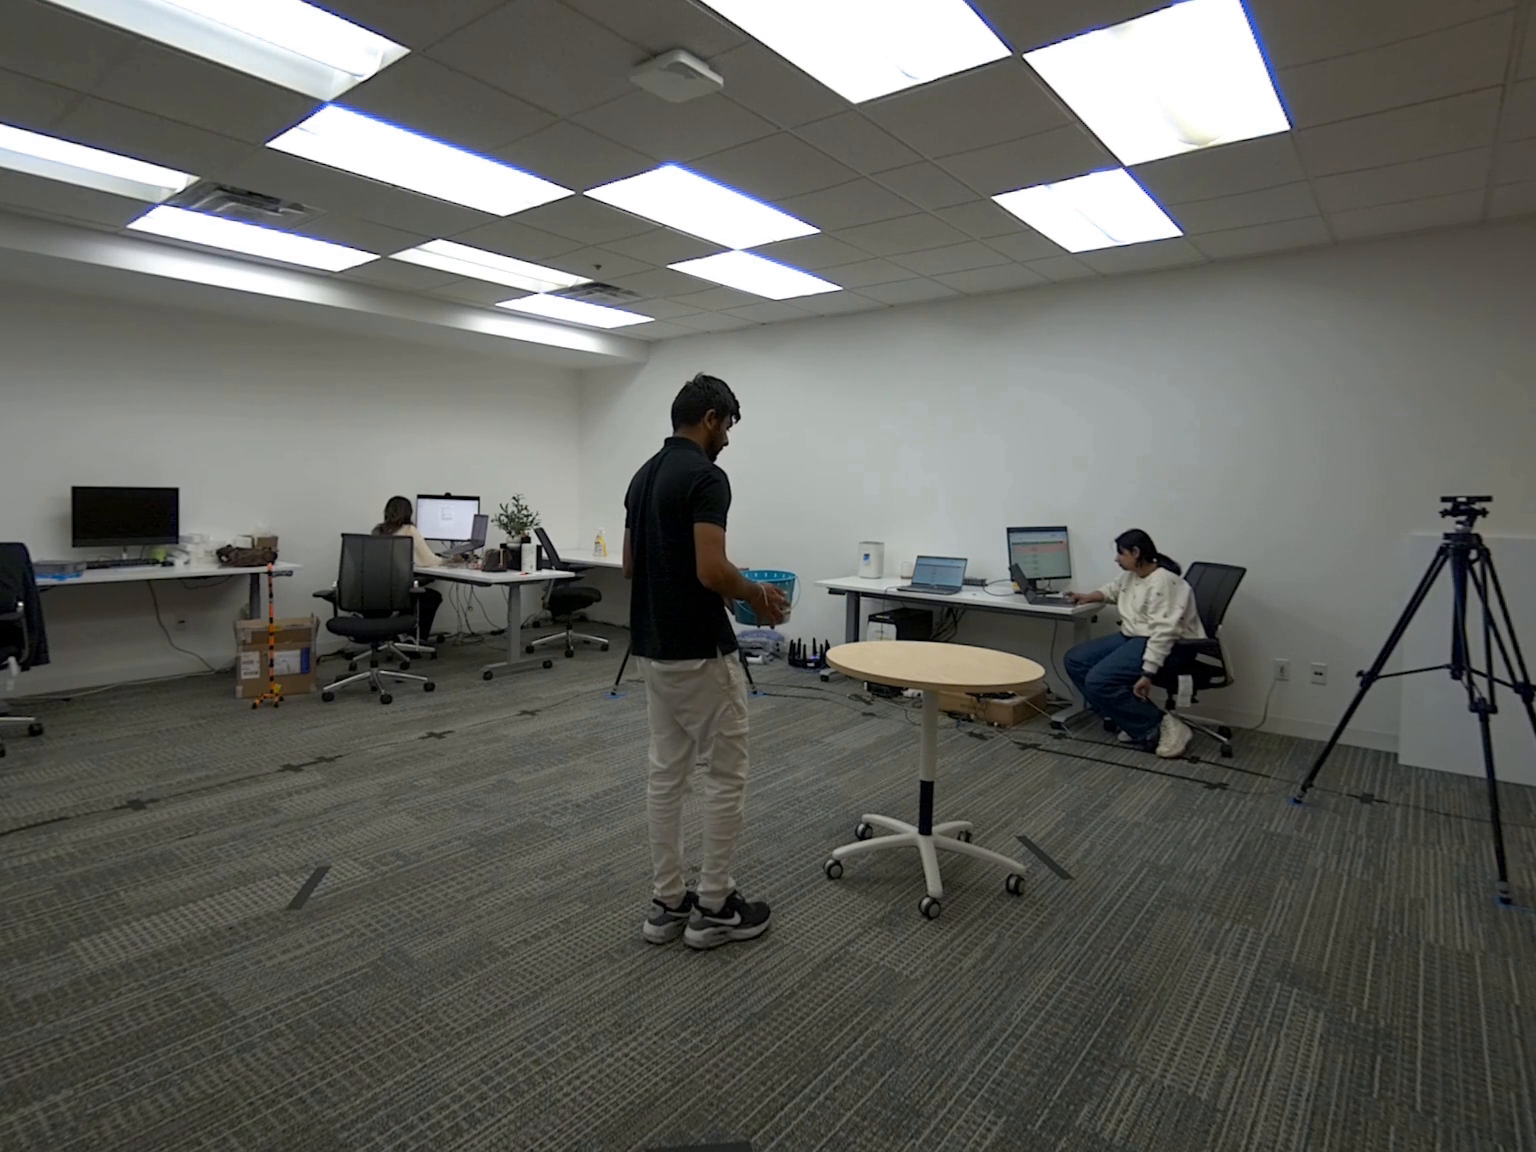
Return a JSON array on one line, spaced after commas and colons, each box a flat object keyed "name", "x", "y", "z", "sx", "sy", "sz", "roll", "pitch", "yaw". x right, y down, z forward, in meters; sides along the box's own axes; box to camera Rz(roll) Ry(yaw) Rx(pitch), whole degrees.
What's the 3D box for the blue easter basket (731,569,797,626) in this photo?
[{"name": "blue easter basket", "x": -0.025, "y": 0.077, "z": 2.774, "sx": 0.243, "sy": 0.155, "sz": 0.245, "roll": -1, "pitch": 7, "yaw": -2}]
